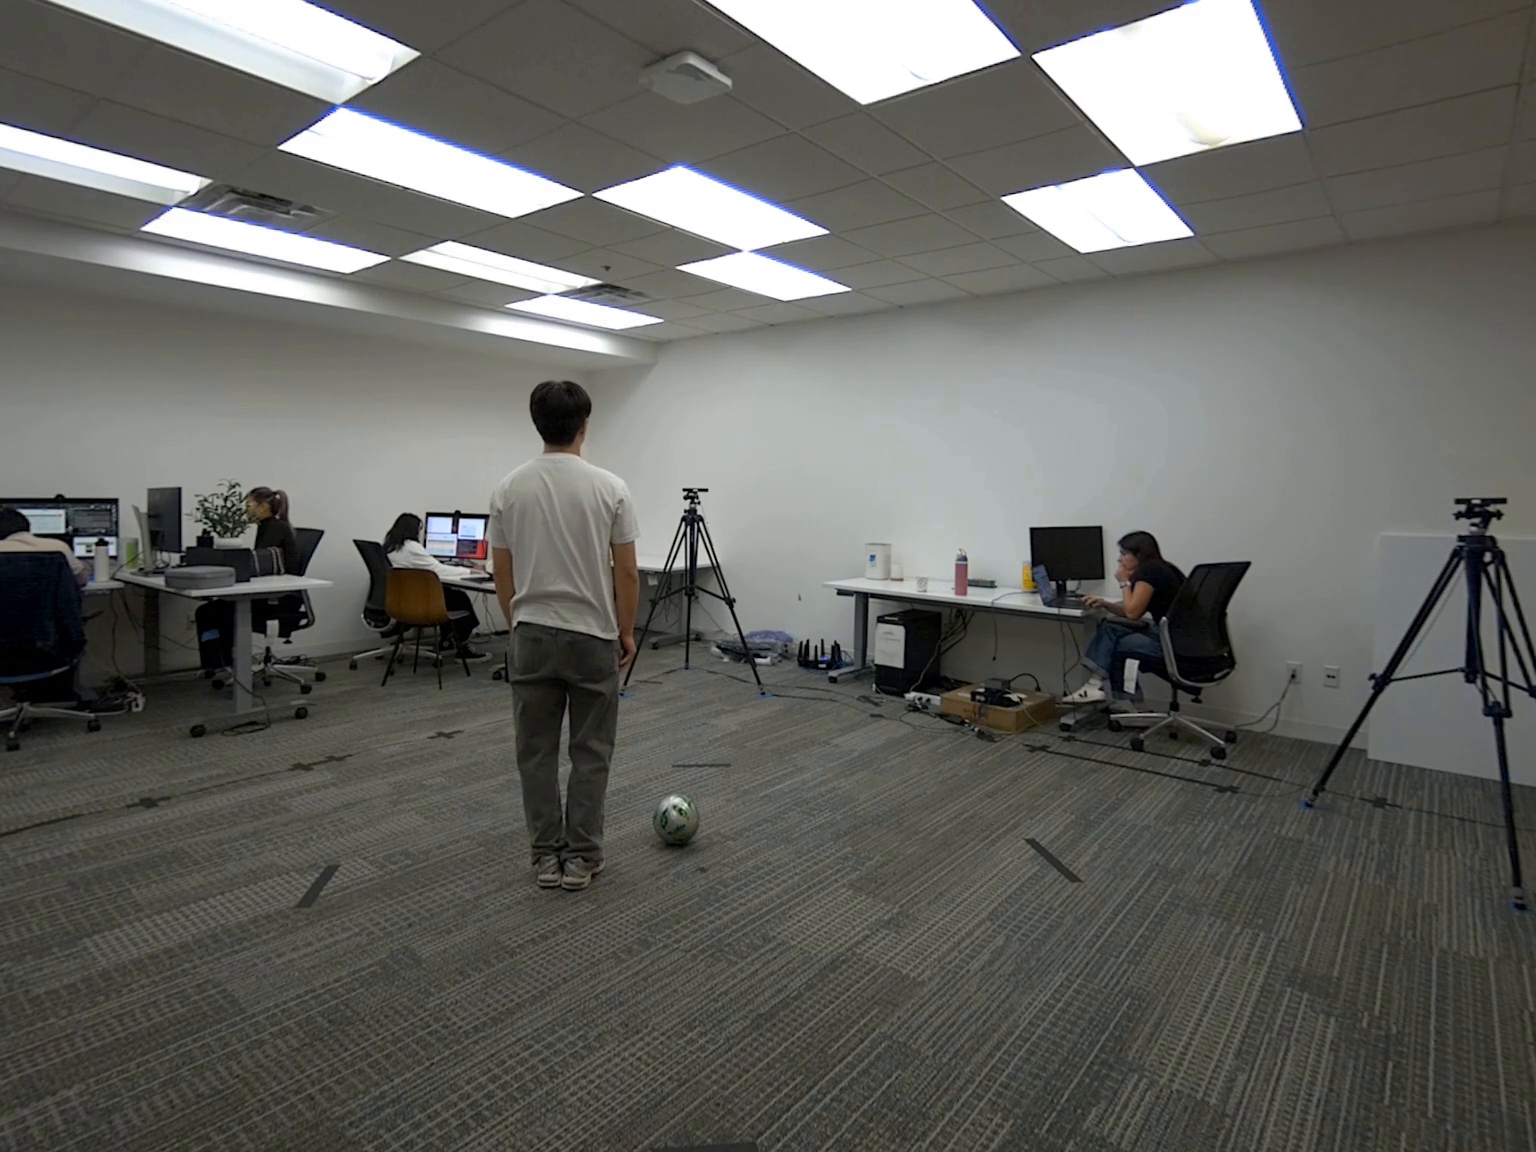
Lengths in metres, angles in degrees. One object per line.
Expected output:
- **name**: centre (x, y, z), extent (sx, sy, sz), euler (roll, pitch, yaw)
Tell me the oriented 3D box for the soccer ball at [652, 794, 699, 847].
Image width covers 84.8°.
- **soccer ball**: centre (-0.357, 0.944, 3.339), extent (0.187, 0.187, 0.188), euler (1, 4, -2)
